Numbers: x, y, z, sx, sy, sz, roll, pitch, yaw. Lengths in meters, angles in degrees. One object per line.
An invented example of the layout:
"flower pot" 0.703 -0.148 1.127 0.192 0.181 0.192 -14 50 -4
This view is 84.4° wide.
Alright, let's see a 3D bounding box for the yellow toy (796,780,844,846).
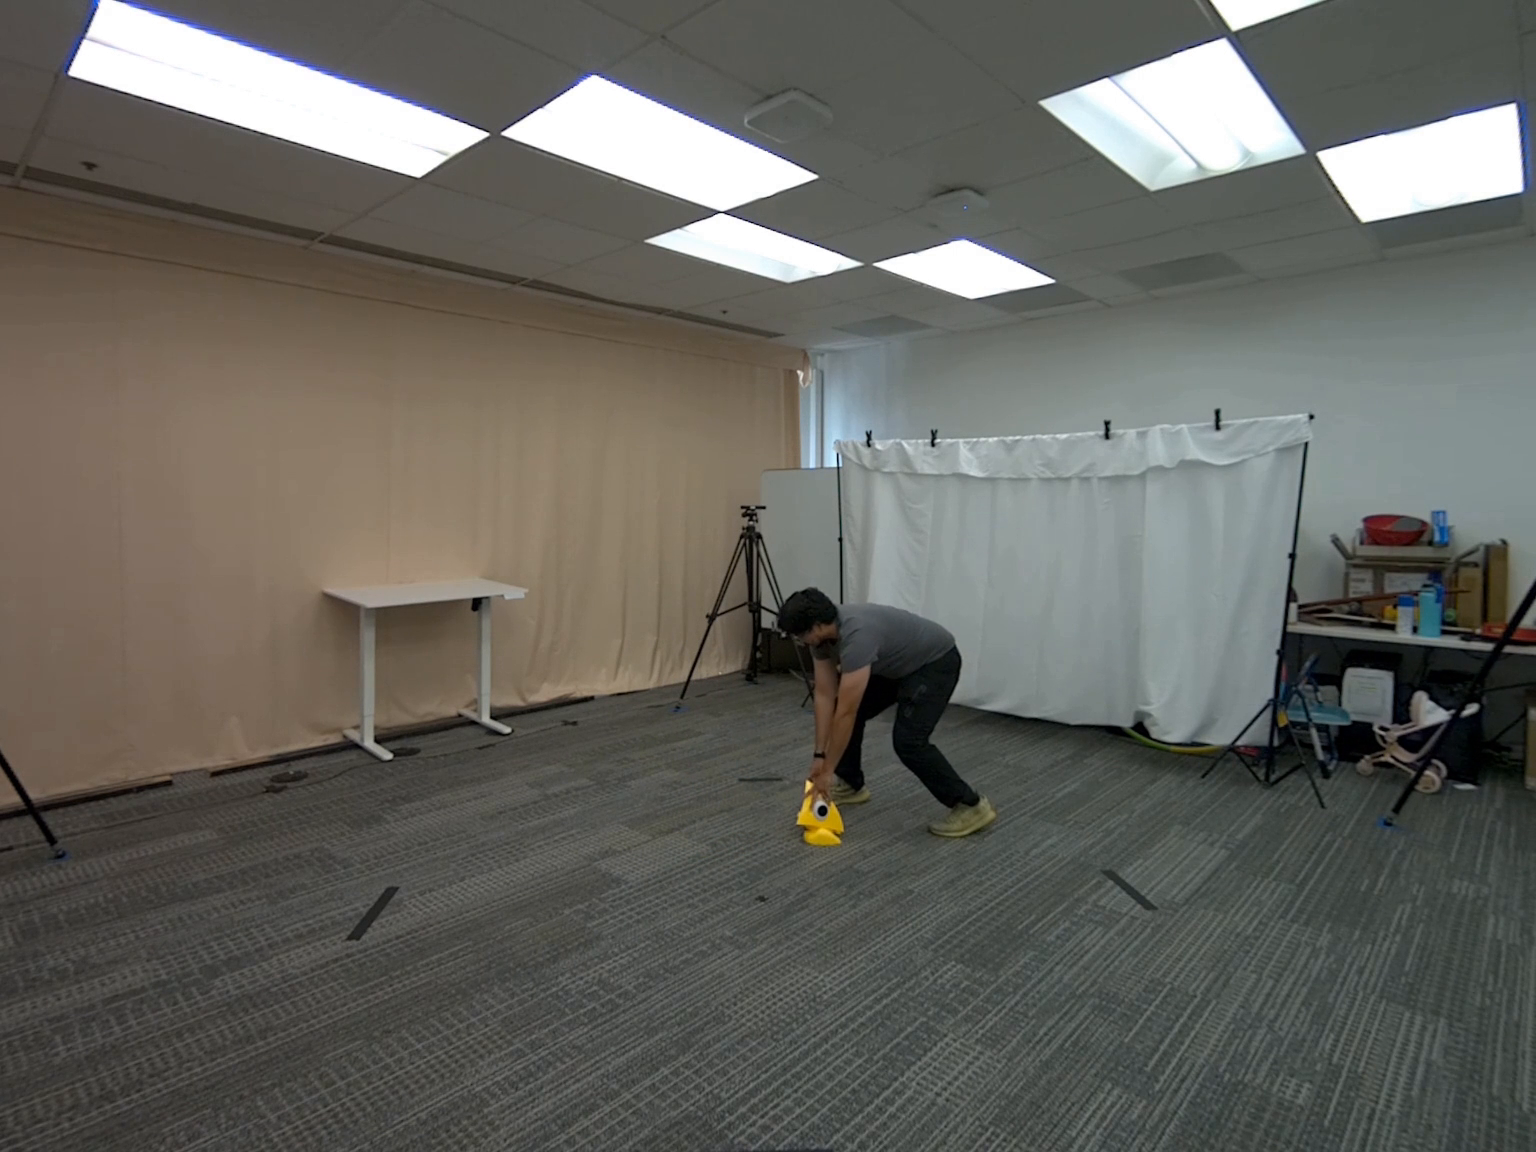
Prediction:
"yellow toy" 0.224 0.981 3.552 0.195 0.230 0.203 0 2 9
